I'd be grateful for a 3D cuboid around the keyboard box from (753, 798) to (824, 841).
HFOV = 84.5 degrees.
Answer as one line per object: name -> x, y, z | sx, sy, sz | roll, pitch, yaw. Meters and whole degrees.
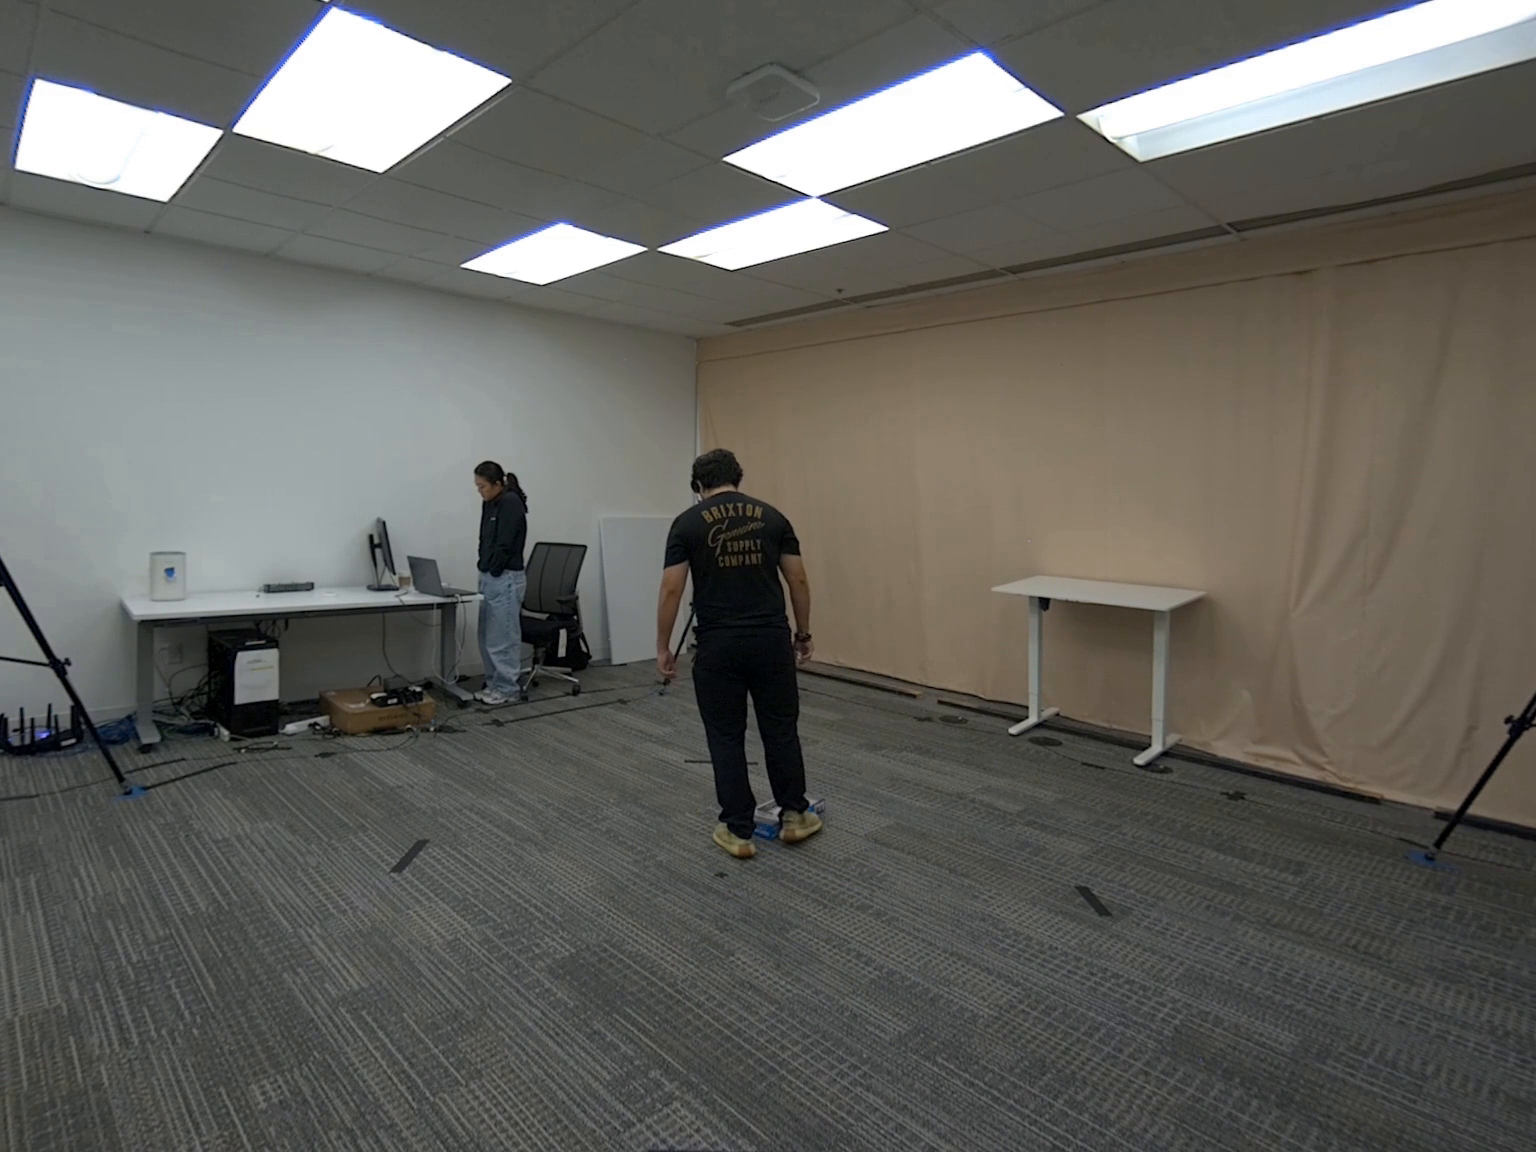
keyboard box -> 0.060, 1.033, 3.659 | 0.180, 0.059, 0.427 | 5, 6, 35
